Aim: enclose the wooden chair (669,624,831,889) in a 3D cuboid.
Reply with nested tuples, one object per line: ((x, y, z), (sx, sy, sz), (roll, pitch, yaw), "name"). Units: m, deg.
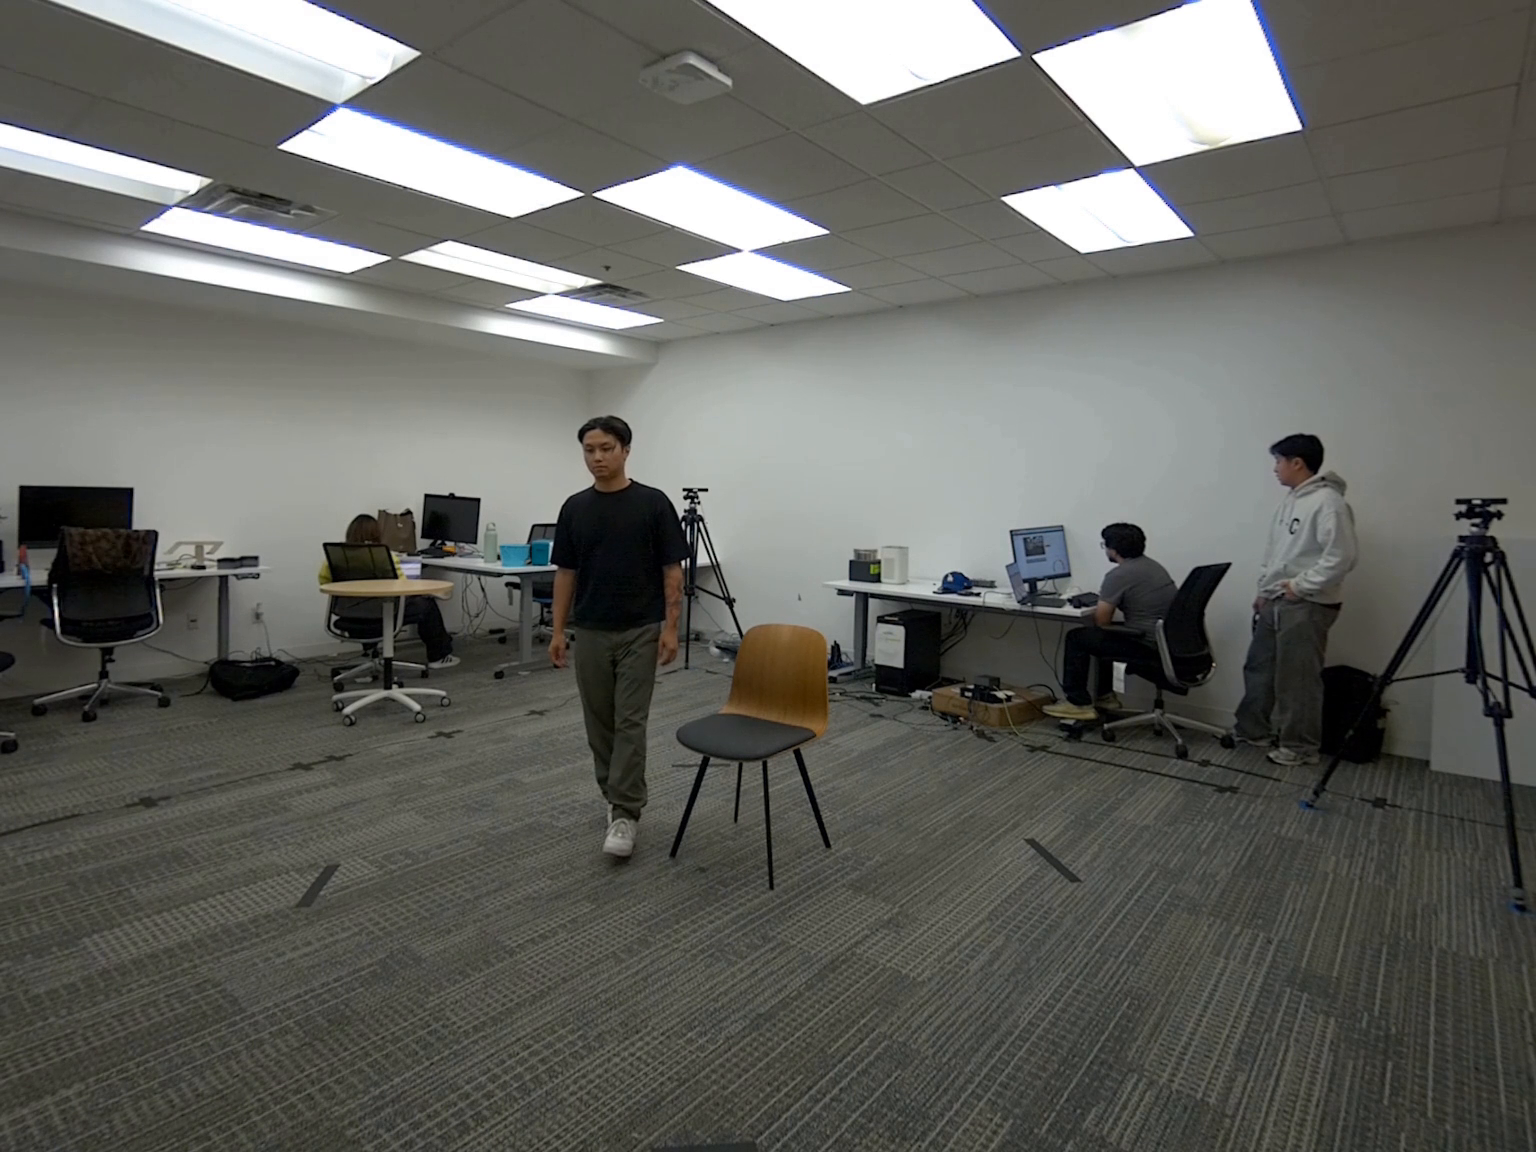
((-0.061, 0.633, 3.229), (0.493, 0.878, 0.507), (4, 0, 32), "wooden chair")
